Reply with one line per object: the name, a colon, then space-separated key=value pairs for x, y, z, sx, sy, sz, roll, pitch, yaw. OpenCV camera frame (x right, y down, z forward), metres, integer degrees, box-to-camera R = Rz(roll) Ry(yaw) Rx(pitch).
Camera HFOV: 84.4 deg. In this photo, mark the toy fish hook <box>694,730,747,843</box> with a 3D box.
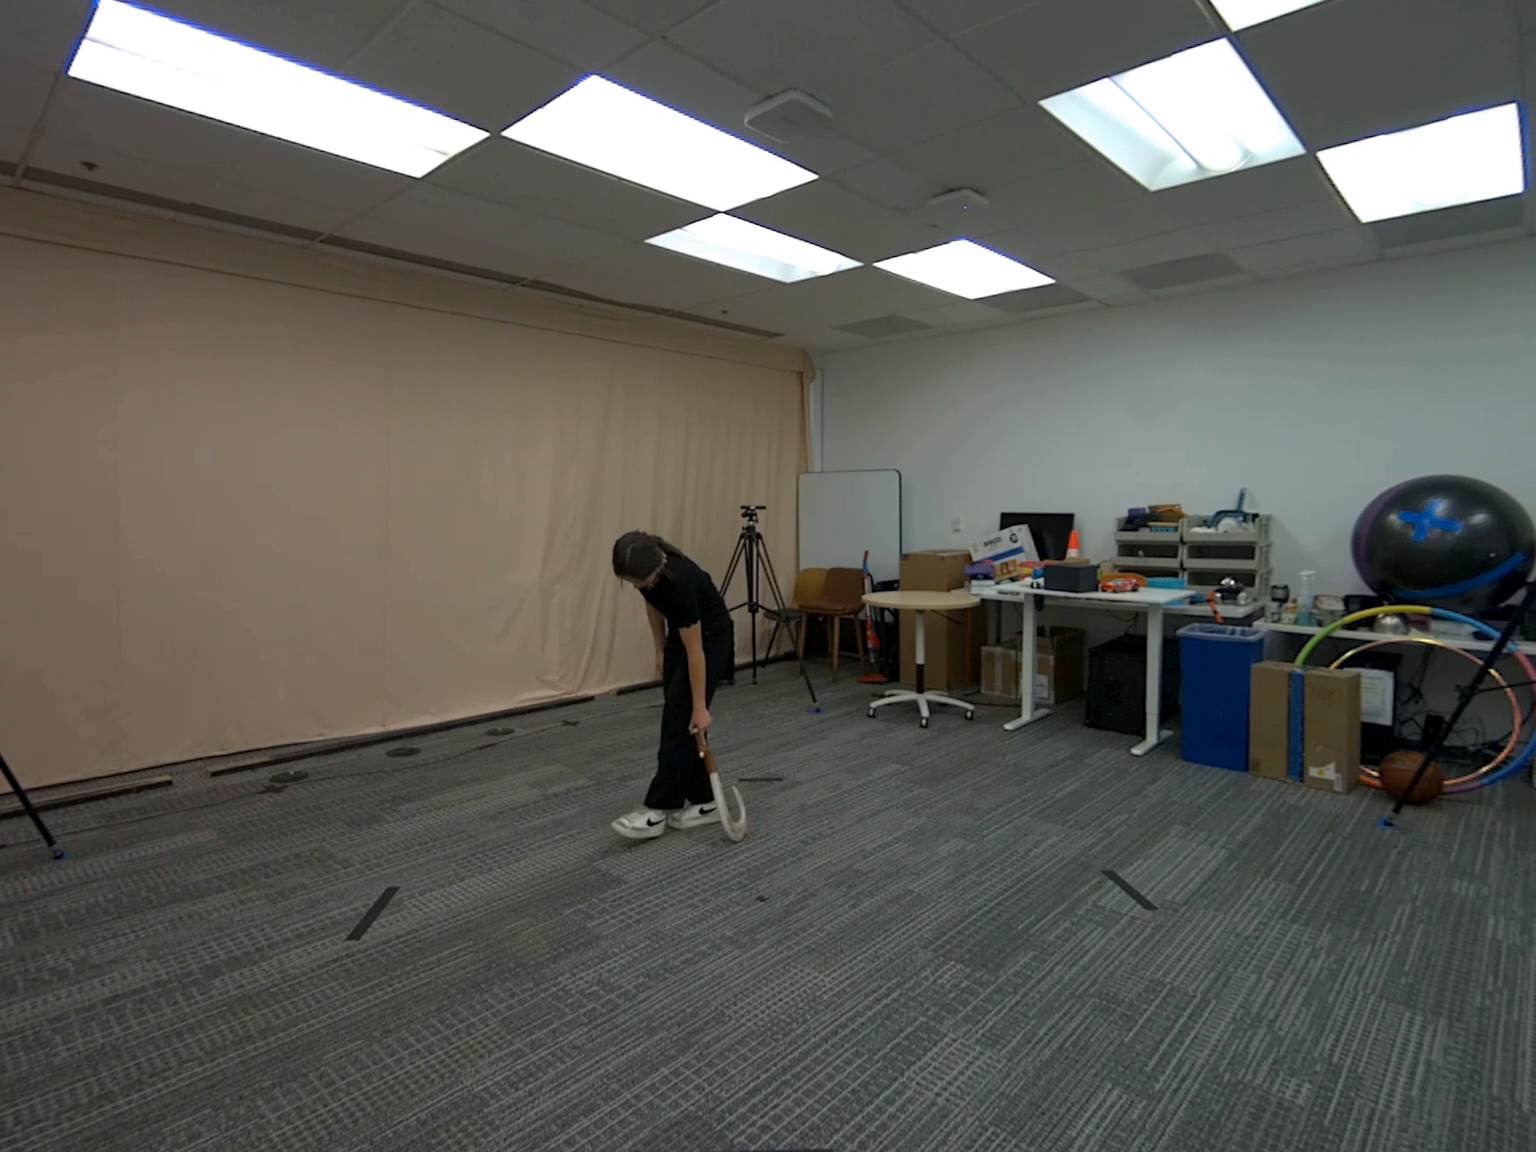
toy fish hook: x=-0.196 y=0.865 z=3.542 sx=0.049 sy=0.507 sz=0.222 roll=-20 pitch=-2 yaw=12
